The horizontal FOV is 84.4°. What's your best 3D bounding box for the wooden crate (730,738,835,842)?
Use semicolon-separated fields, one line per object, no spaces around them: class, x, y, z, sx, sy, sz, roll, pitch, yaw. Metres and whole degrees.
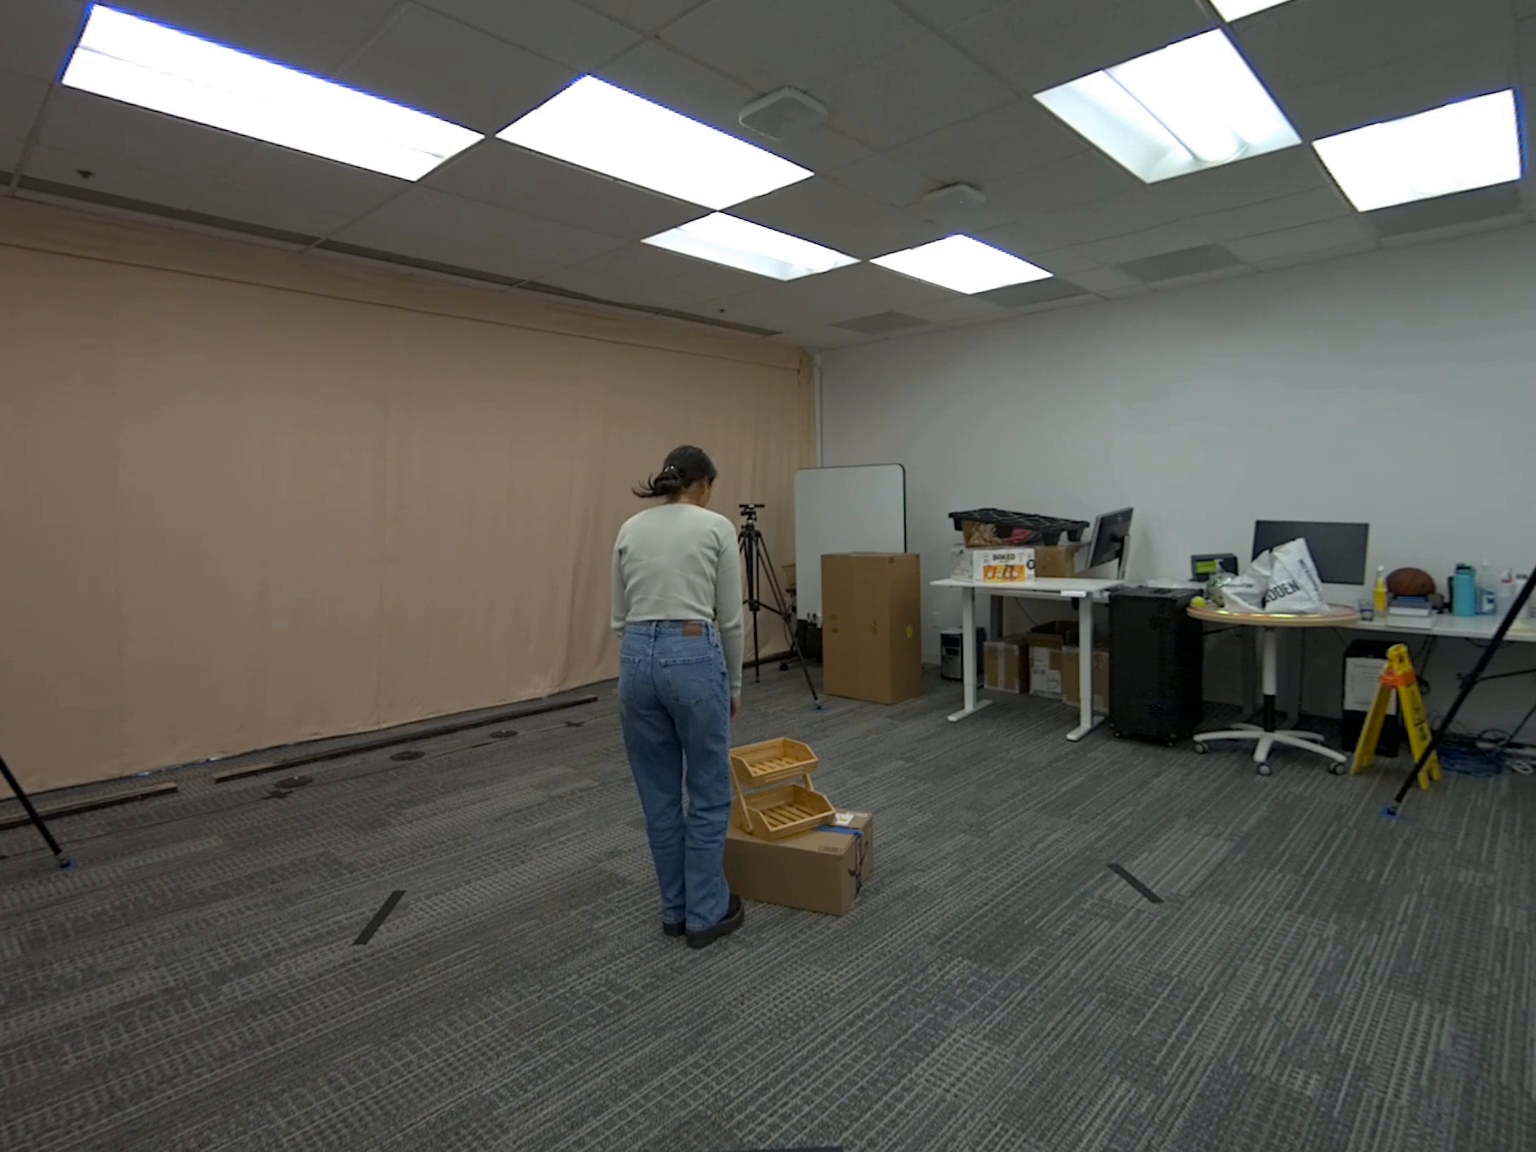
wooden crate;0.041;0.780;3.120;0.315;0.273;0.311;-5;4;-35
